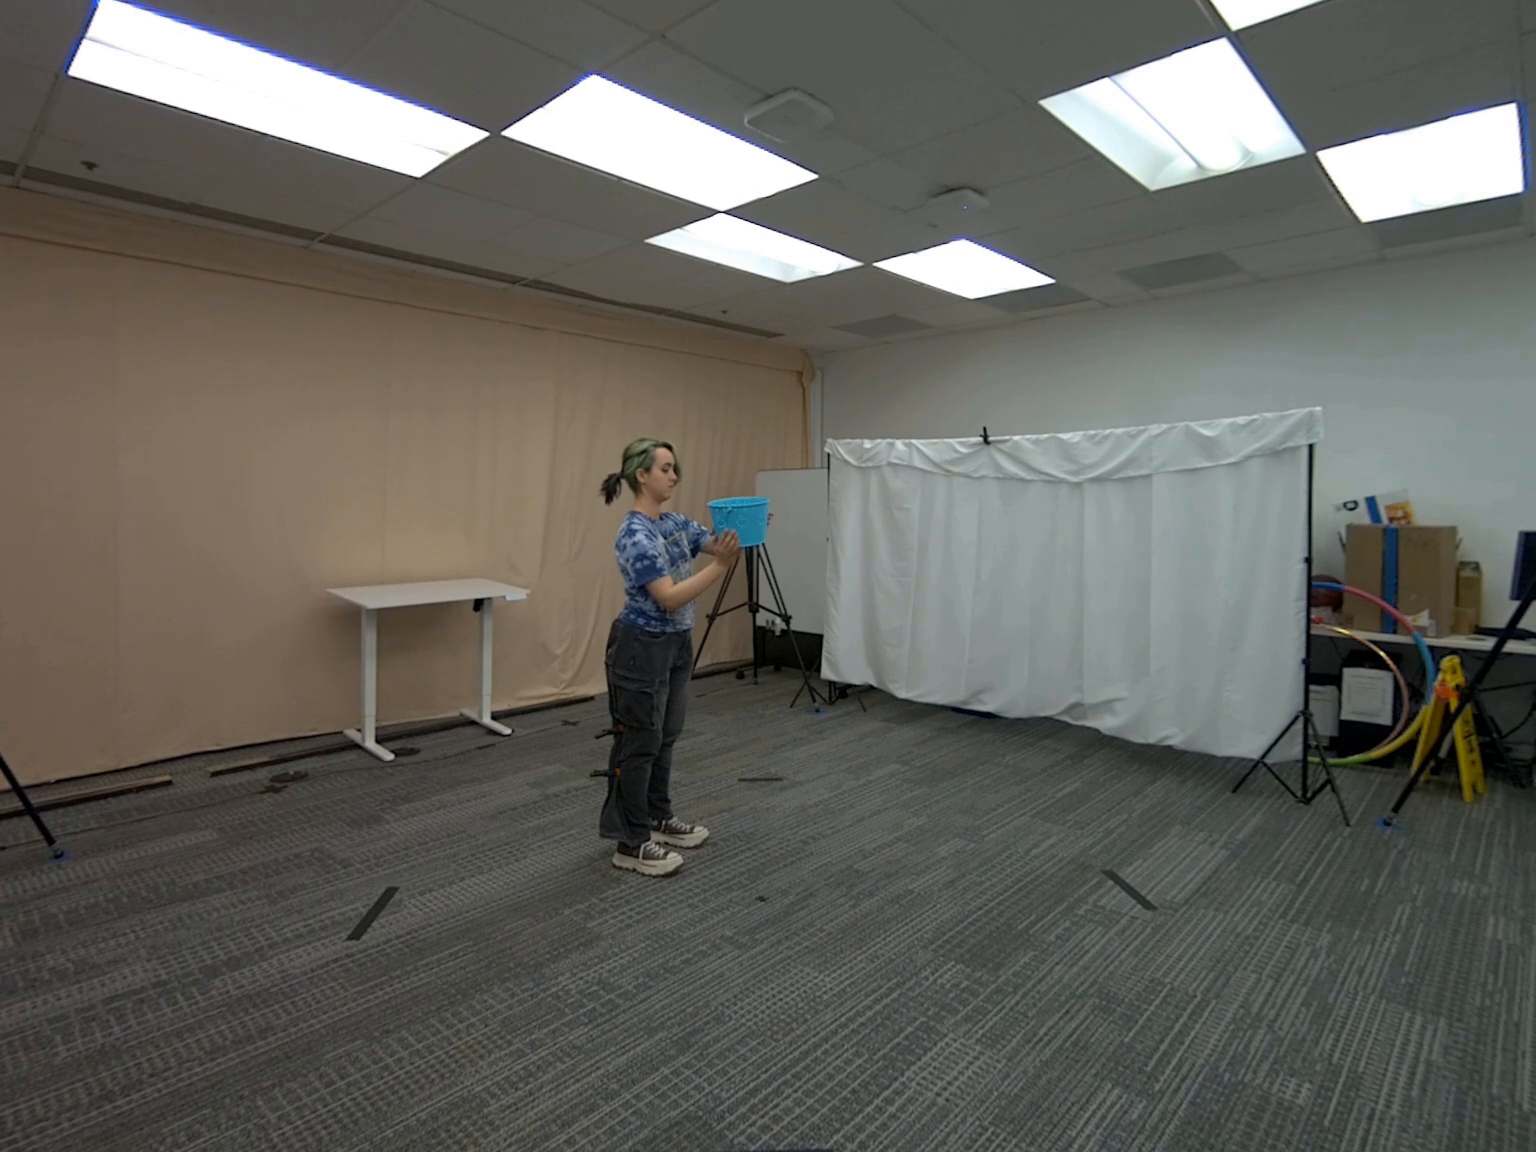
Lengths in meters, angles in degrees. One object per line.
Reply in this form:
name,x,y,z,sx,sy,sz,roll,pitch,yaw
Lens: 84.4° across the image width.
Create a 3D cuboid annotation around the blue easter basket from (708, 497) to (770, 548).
blue easter basket,-0.108,-0.199,3.103,0.243,0.155,0.245,-4,12,-1
